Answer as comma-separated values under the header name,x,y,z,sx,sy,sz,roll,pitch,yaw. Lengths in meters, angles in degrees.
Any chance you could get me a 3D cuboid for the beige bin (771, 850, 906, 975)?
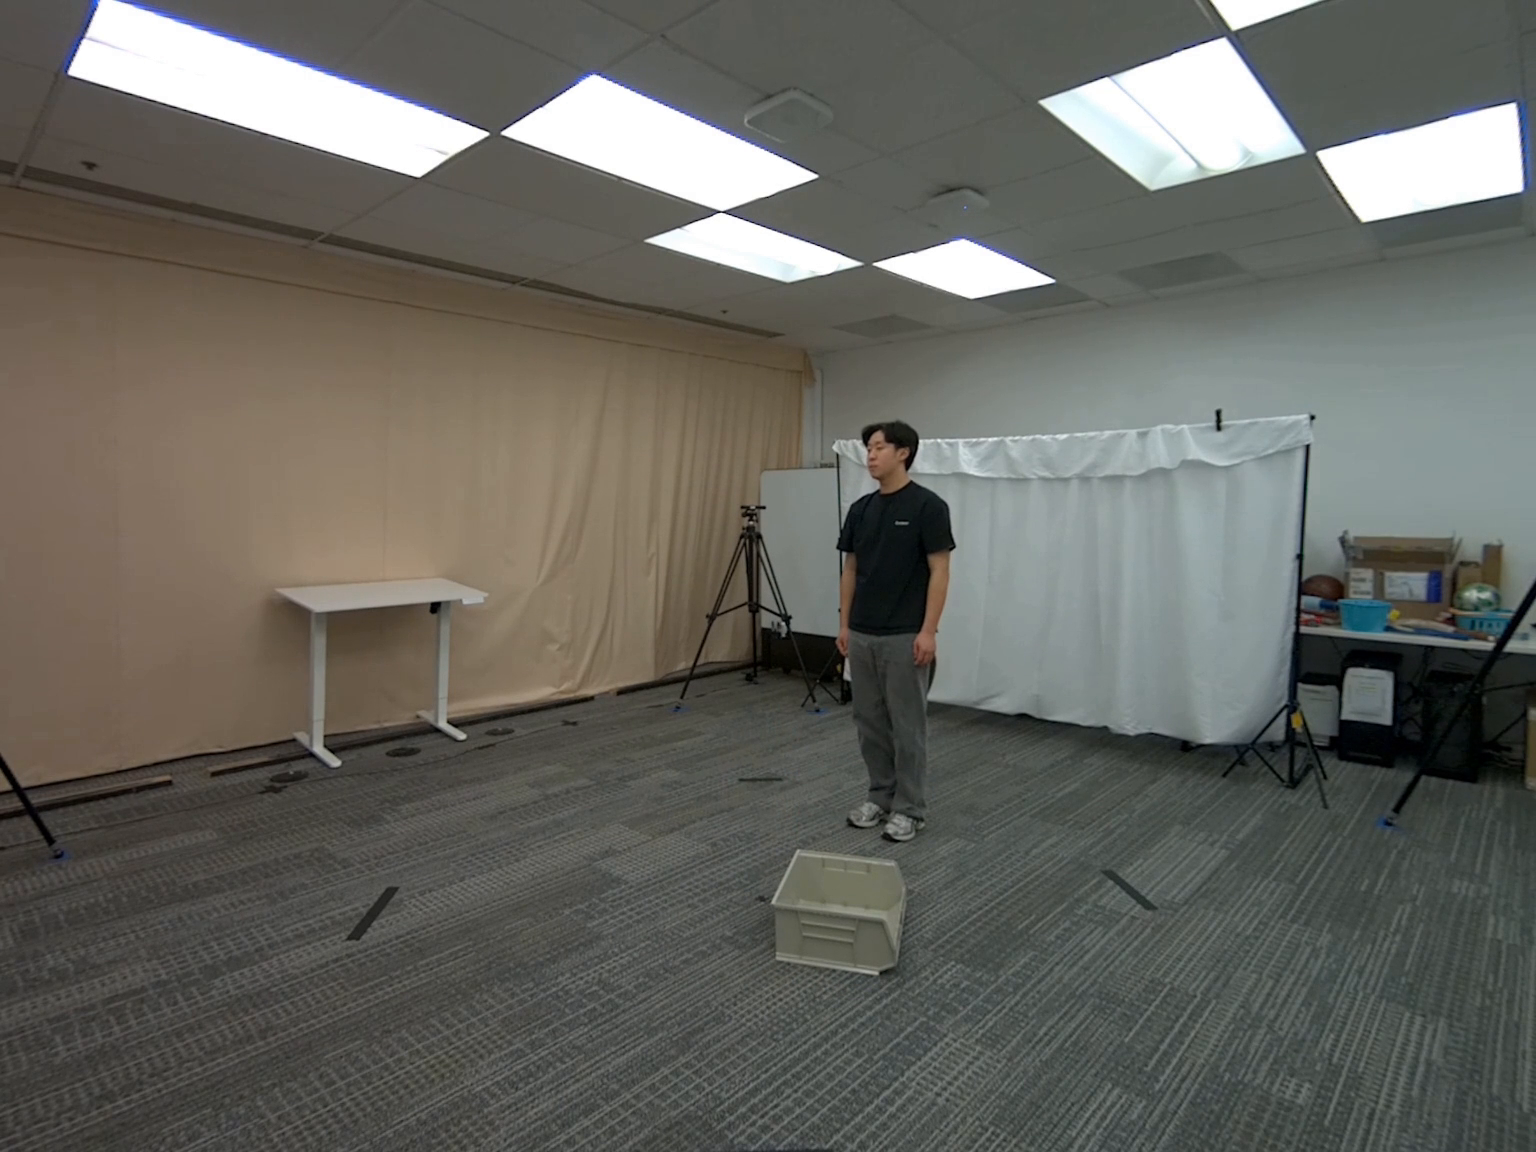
name,x,y,z,sx,sy,sz,roll,pitch,yaw
beige bin,0.248,1.076,2.721,0.384,0.188,0.416,-1,5,14
